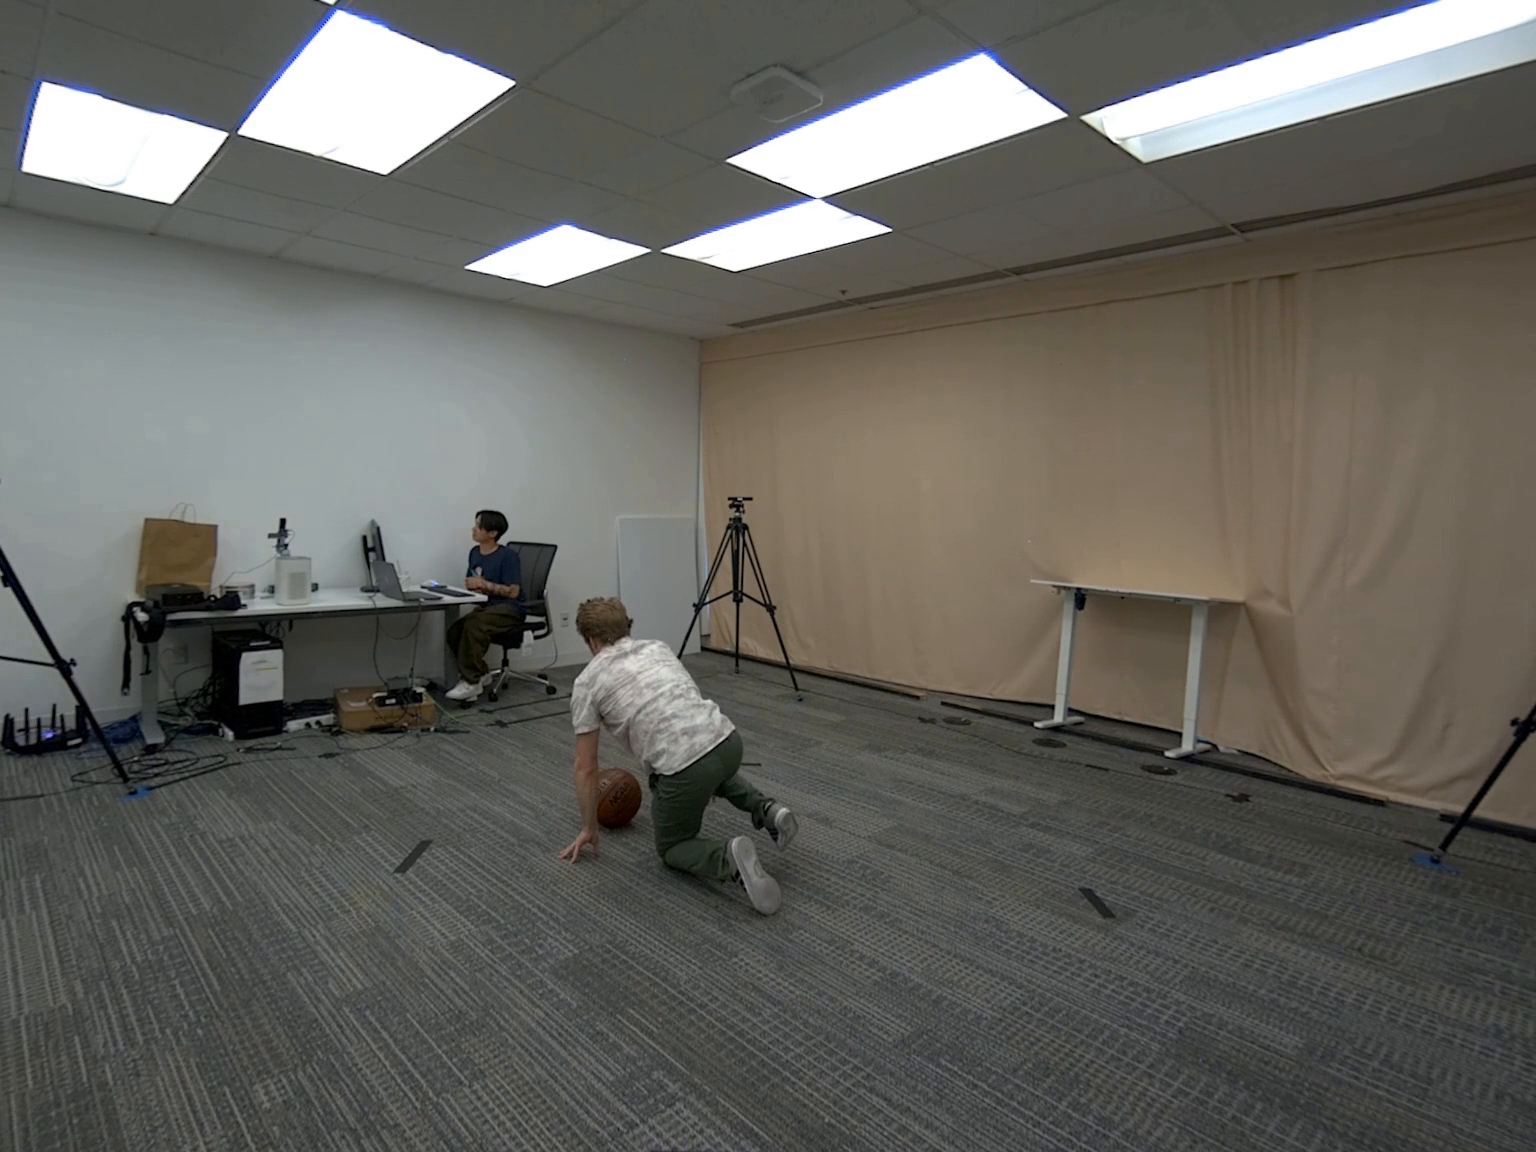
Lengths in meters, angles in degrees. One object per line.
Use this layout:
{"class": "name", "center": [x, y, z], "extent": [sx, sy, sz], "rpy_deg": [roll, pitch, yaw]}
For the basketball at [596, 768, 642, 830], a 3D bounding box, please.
{"class": "basketball", "center": [-0.658, 0.931, 3.559], "extent": [0.236, 0.235, 0.237], "rpy_deg": [1, 4, -1]}
